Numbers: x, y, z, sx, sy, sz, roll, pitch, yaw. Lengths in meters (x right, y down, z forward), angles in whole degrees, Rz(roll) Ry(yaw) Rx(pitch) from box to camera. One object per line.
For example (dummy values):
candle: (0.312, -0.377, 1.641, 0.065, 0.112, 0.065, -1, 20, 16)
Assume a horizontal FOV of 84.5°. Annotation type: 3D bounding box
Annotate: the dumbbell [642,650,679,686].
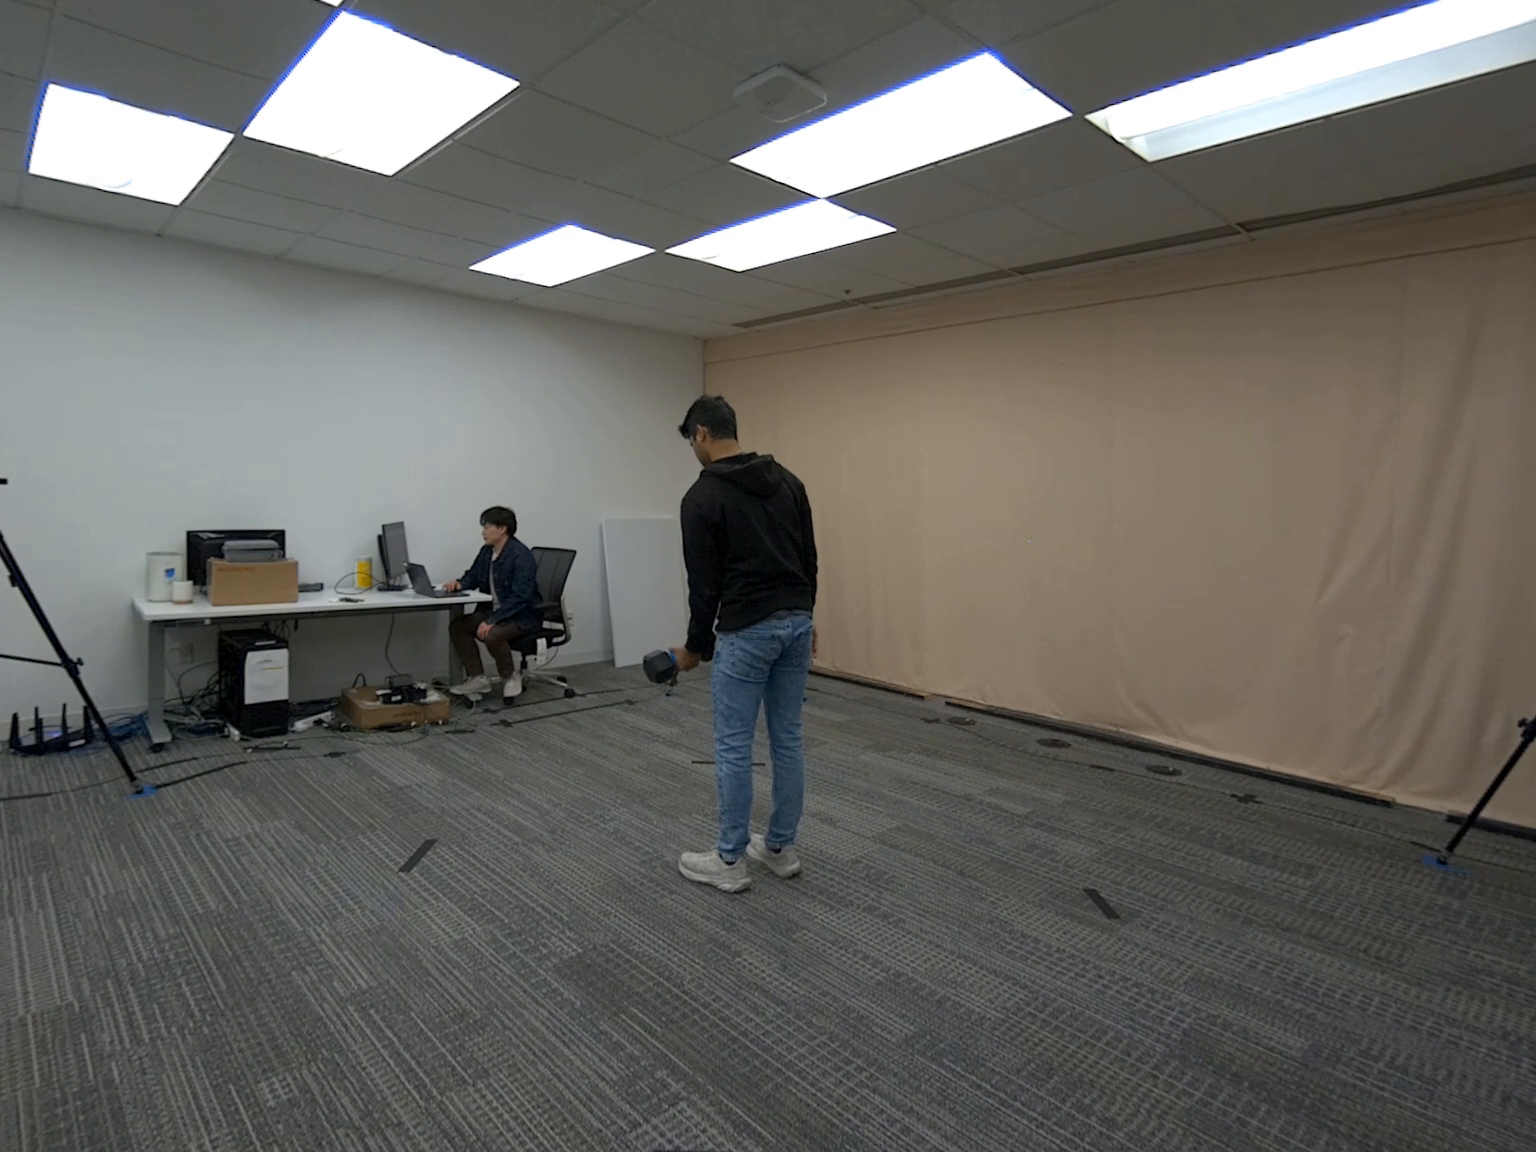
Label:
dumbbell: (-0.327, 0.280, 3.158, 0.290, 0.108, 0.125, -22, 12, -31)
